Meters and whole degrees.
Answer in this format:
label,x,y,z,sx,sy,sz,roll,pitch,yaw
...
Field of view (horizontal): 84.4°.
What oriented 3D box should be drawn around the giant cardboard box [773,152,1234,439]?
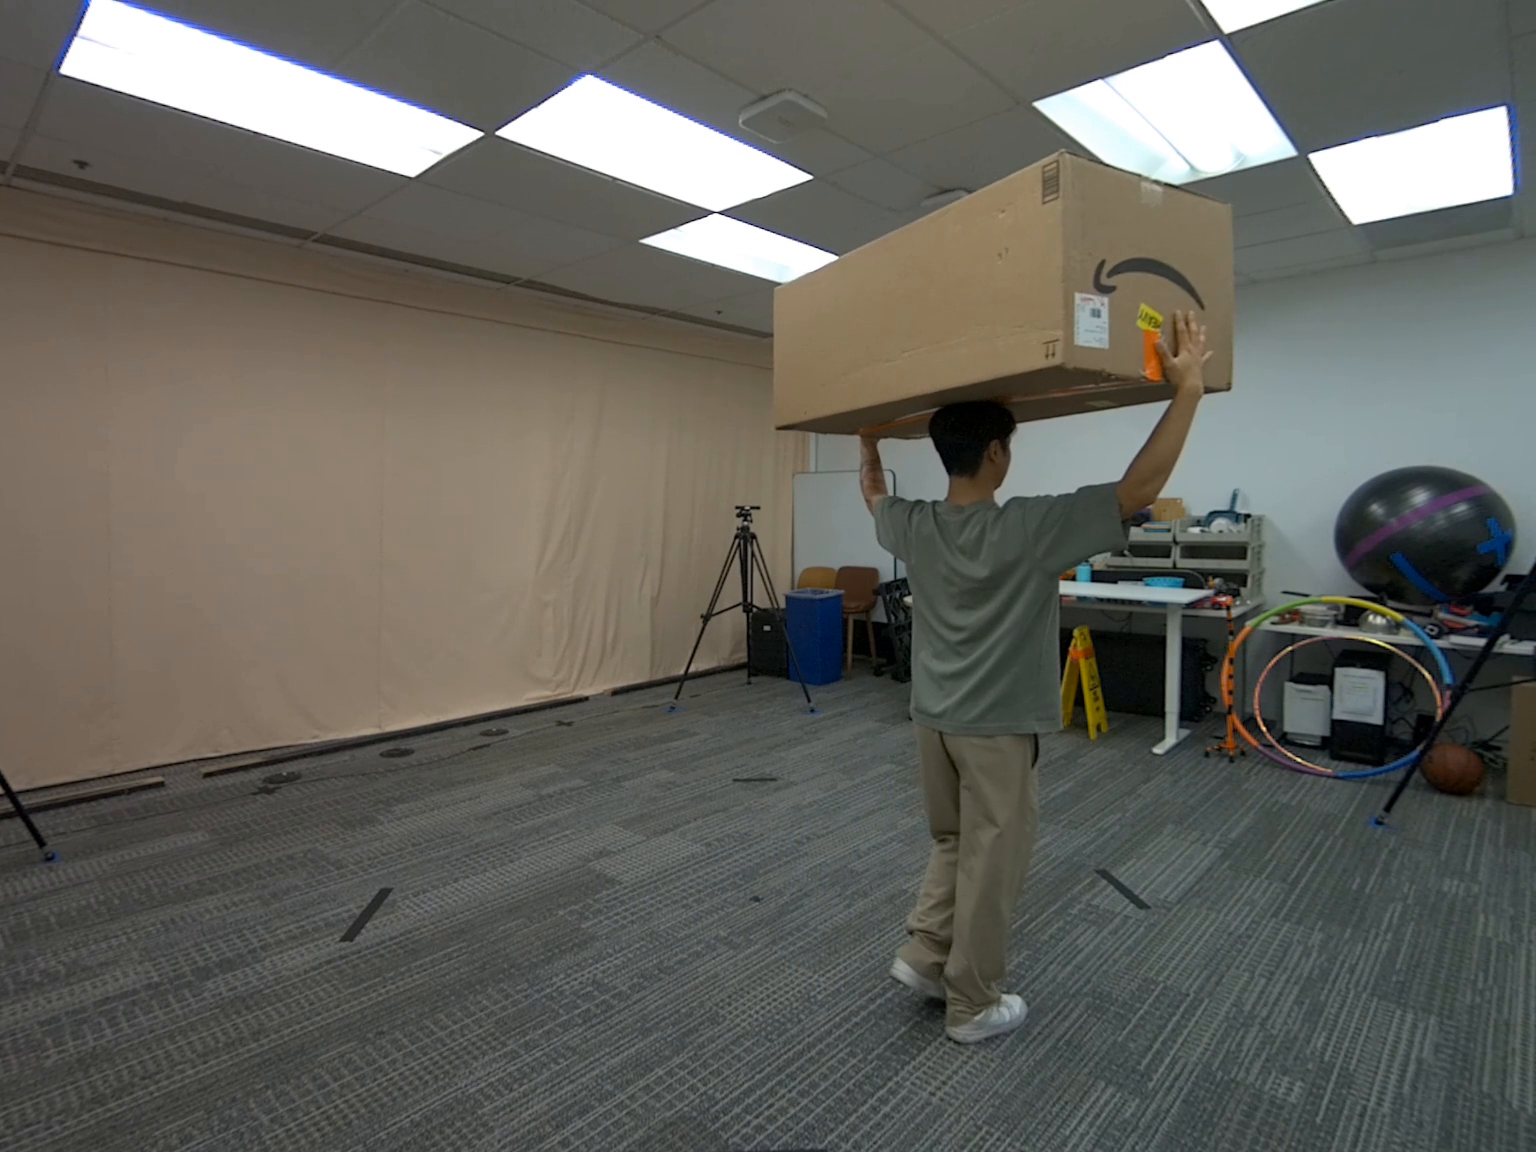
label,x,y,z,sx,sy,sz,roll,pitch,yaw
giant cardboard box,0.538,-0.635,2.210,0.561,0.426,1.055,-1,2,-32
